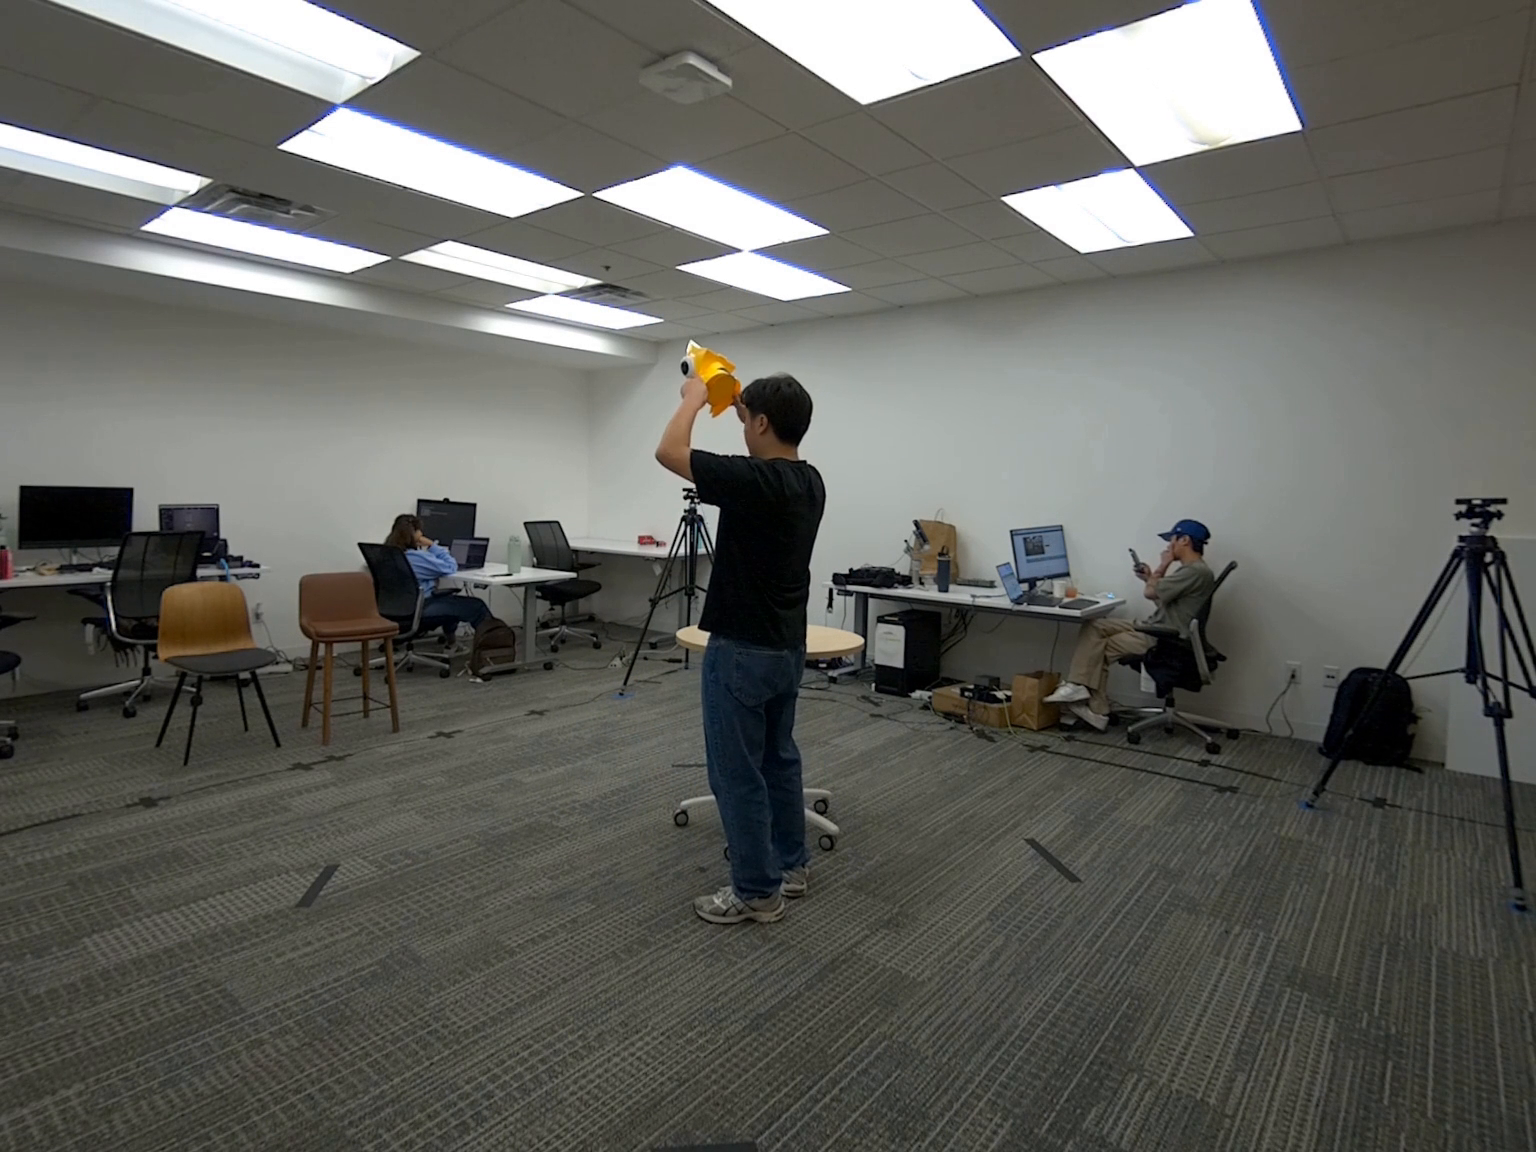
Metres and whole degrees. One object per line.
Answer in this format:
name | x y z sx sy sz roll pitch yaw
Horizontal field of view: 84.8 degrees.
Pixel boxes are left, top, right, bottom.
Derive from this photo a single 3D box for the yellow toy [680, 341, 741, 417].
yellow toy | -0.234 -0.706 2.921 0.238 0.193 0.198 48 17 24
